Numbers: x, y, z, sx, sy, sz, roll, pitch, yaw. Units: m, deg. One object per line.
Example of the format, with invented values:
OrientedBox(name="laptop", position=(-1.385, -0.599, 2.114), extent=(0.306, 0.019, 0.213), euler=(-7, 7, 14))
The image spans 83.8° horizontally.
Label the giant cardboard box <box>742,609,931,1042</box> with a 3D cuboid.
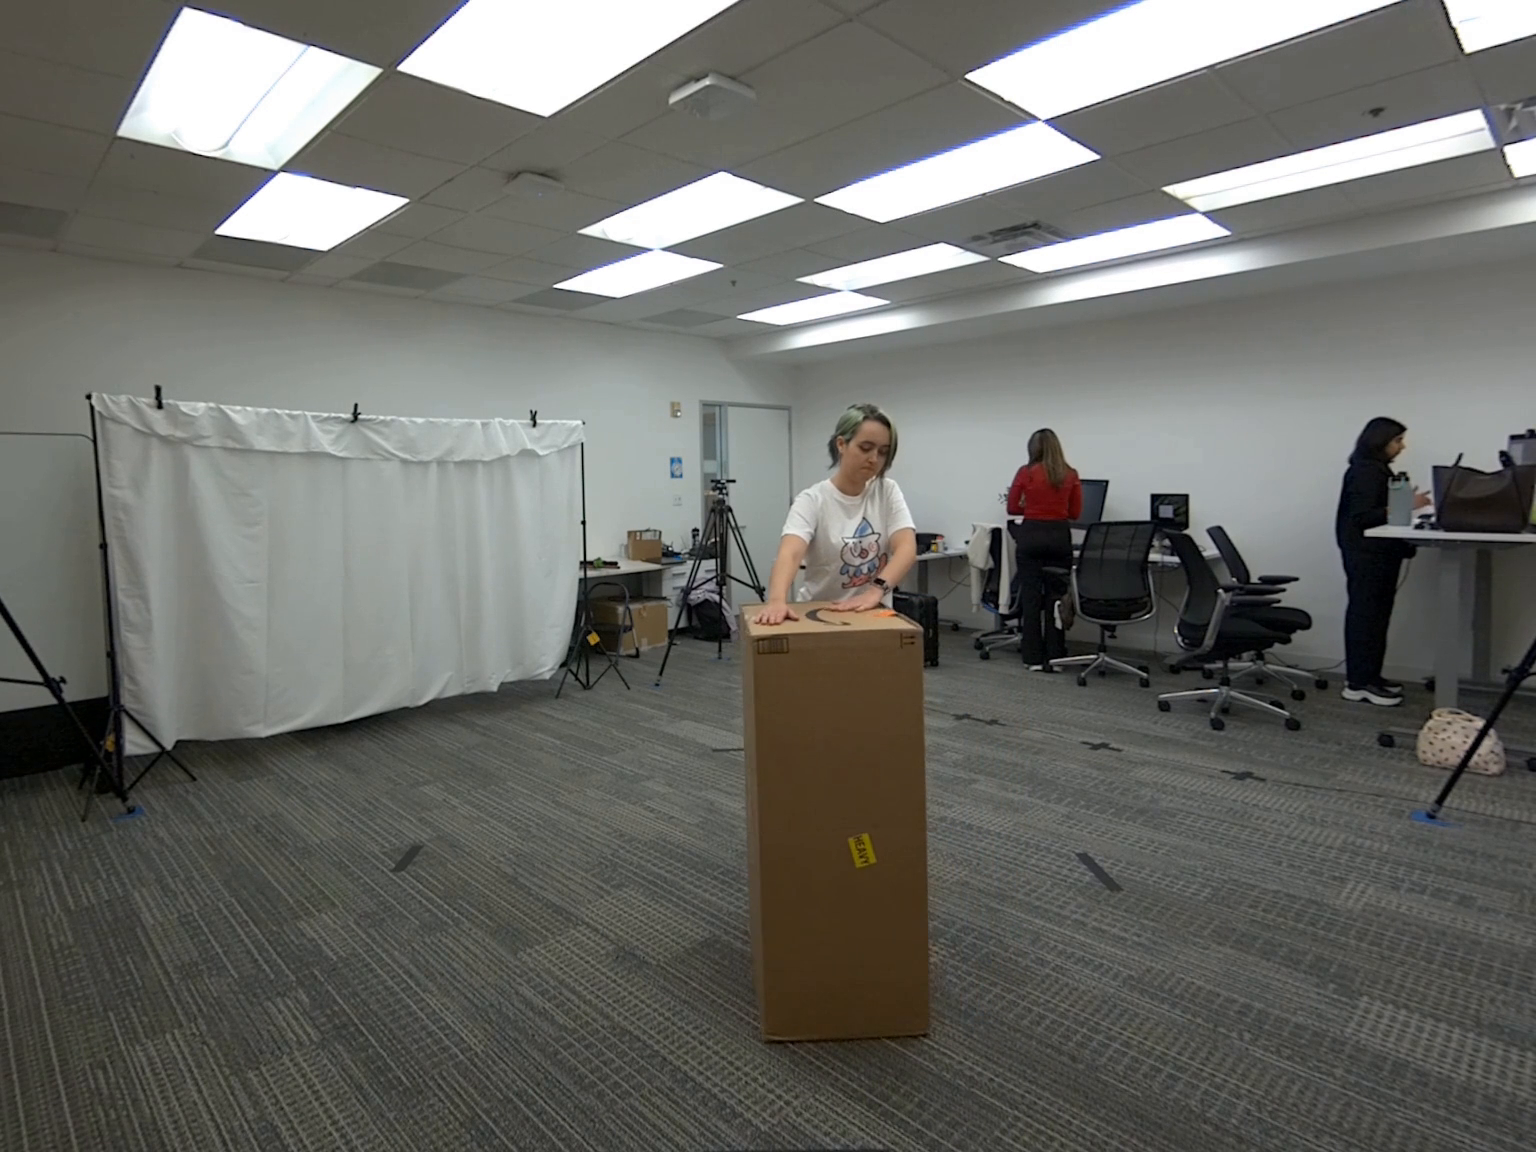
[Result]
OrientedBox(name="giant cardboard box", position=(0.169, 0.625, 2.377), extent=(0.445, 1.023, 0.588), euler=(-3, 4, -5))
